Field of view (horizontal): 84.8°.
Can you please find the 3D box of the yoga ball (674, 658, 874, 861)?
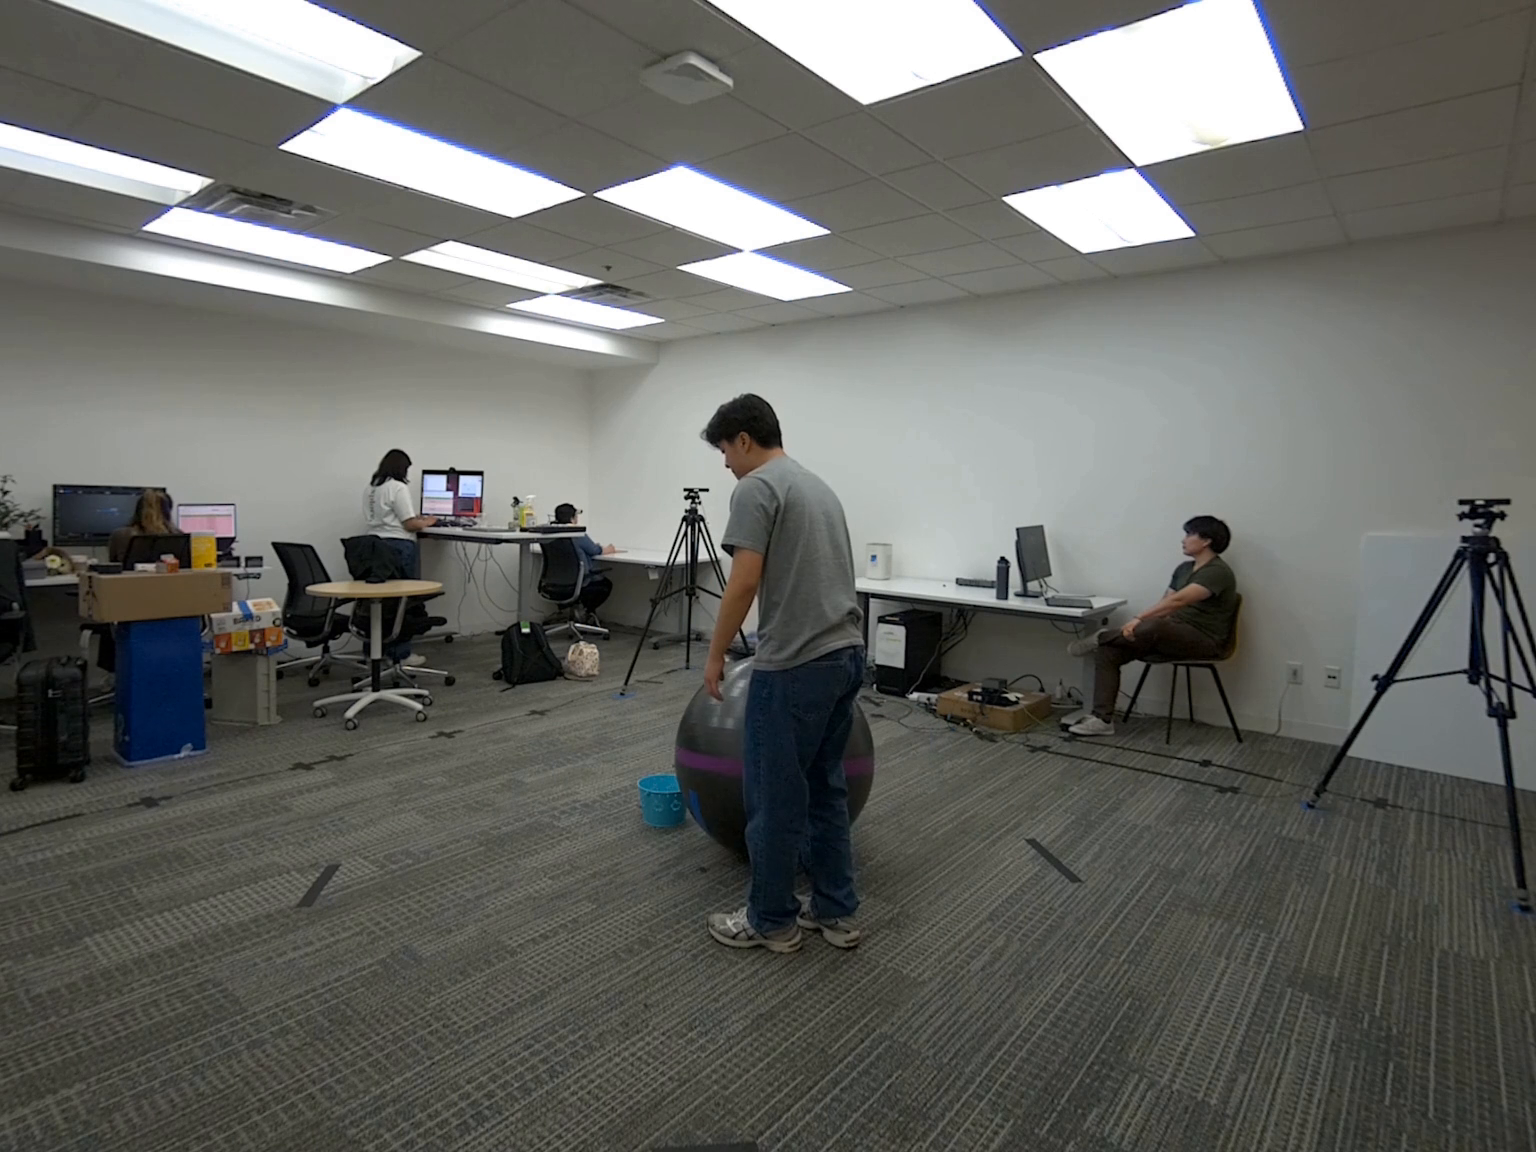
[{"bbox_3d":[0.005,0.687,3.257,0.757,0.755,0.762,1,4,-2],"label":"yoga ball"}]
